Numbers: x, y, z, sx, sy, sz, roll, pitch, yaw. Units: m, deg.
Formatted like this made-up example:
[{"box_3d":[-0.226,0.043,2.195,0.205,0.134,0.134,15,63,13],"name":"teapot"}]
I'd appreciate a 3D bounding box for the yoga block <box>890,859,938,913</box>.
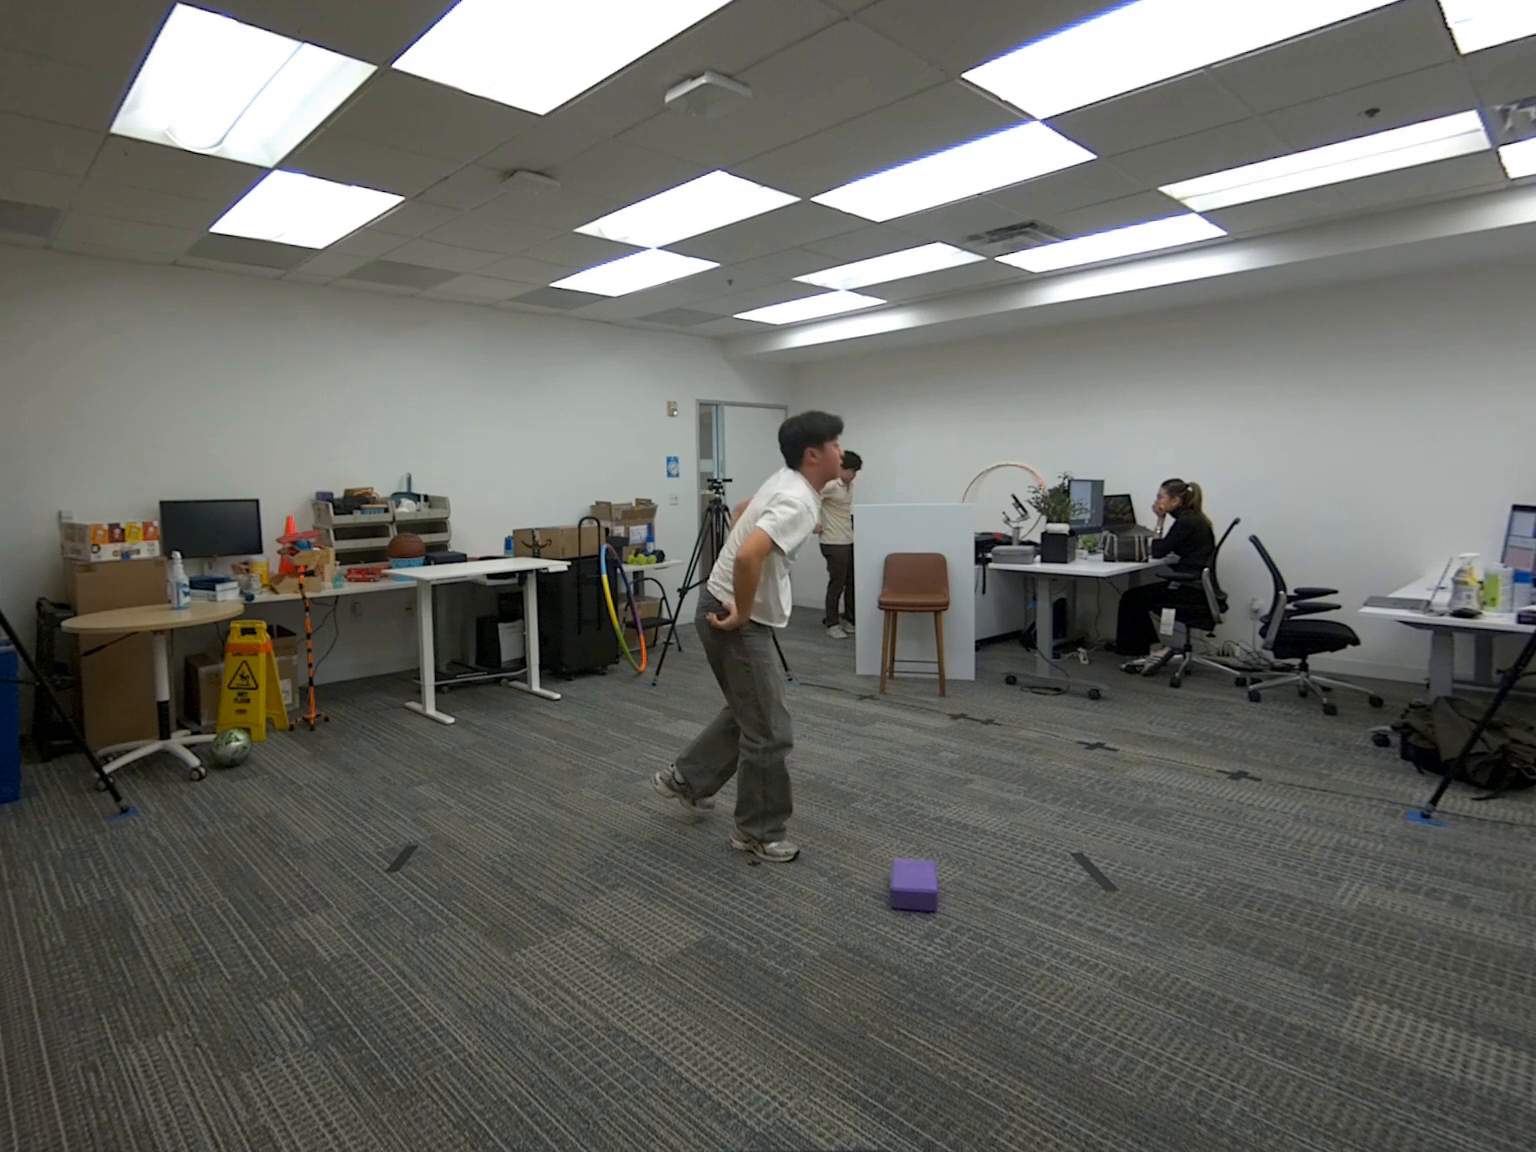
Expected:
[{"box_3d":[0.491,1.028,2.853,0.151,0.076,0.227,-1,6,12],"name":"yoga block"}]
